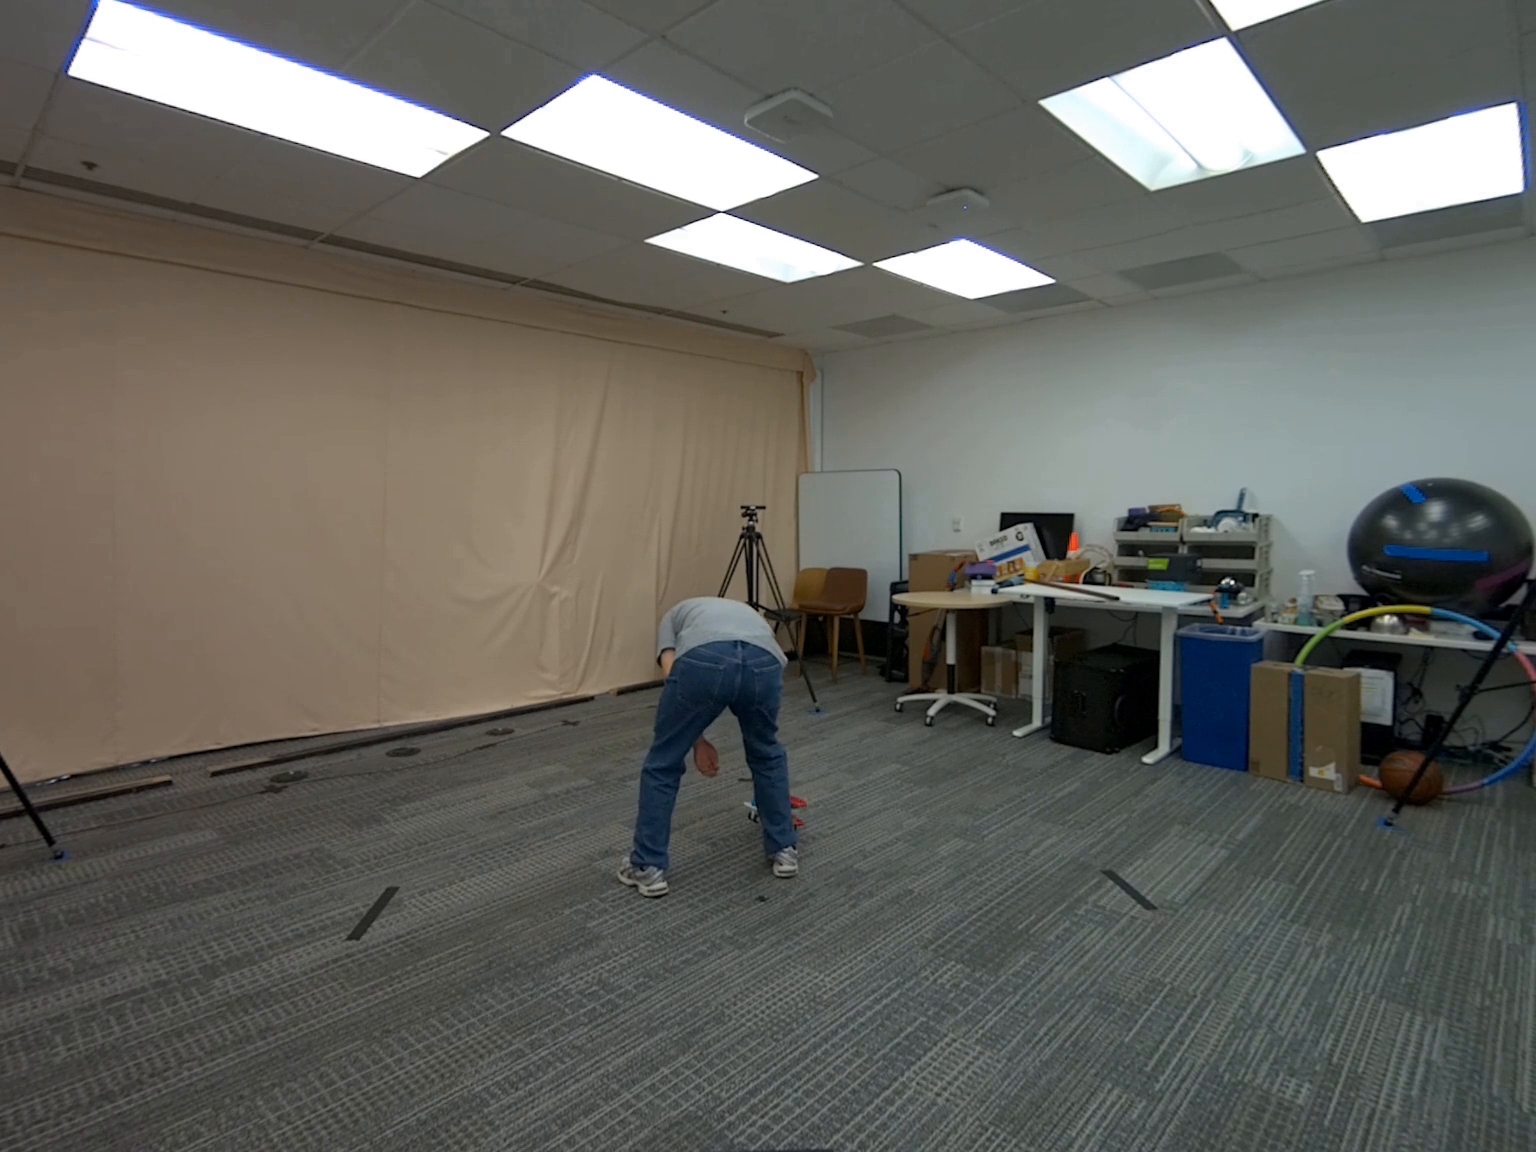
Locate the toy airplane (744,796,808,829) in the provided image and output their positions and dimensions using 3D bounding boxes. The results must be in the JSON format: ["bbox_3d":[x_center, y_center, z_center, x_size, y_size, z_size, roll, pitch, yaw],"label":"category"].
[{"bbox_3d":[0.038,0.990,3.552,0.258,0.157,0.251,15,-14,25],"label":"toy airplane"}]
